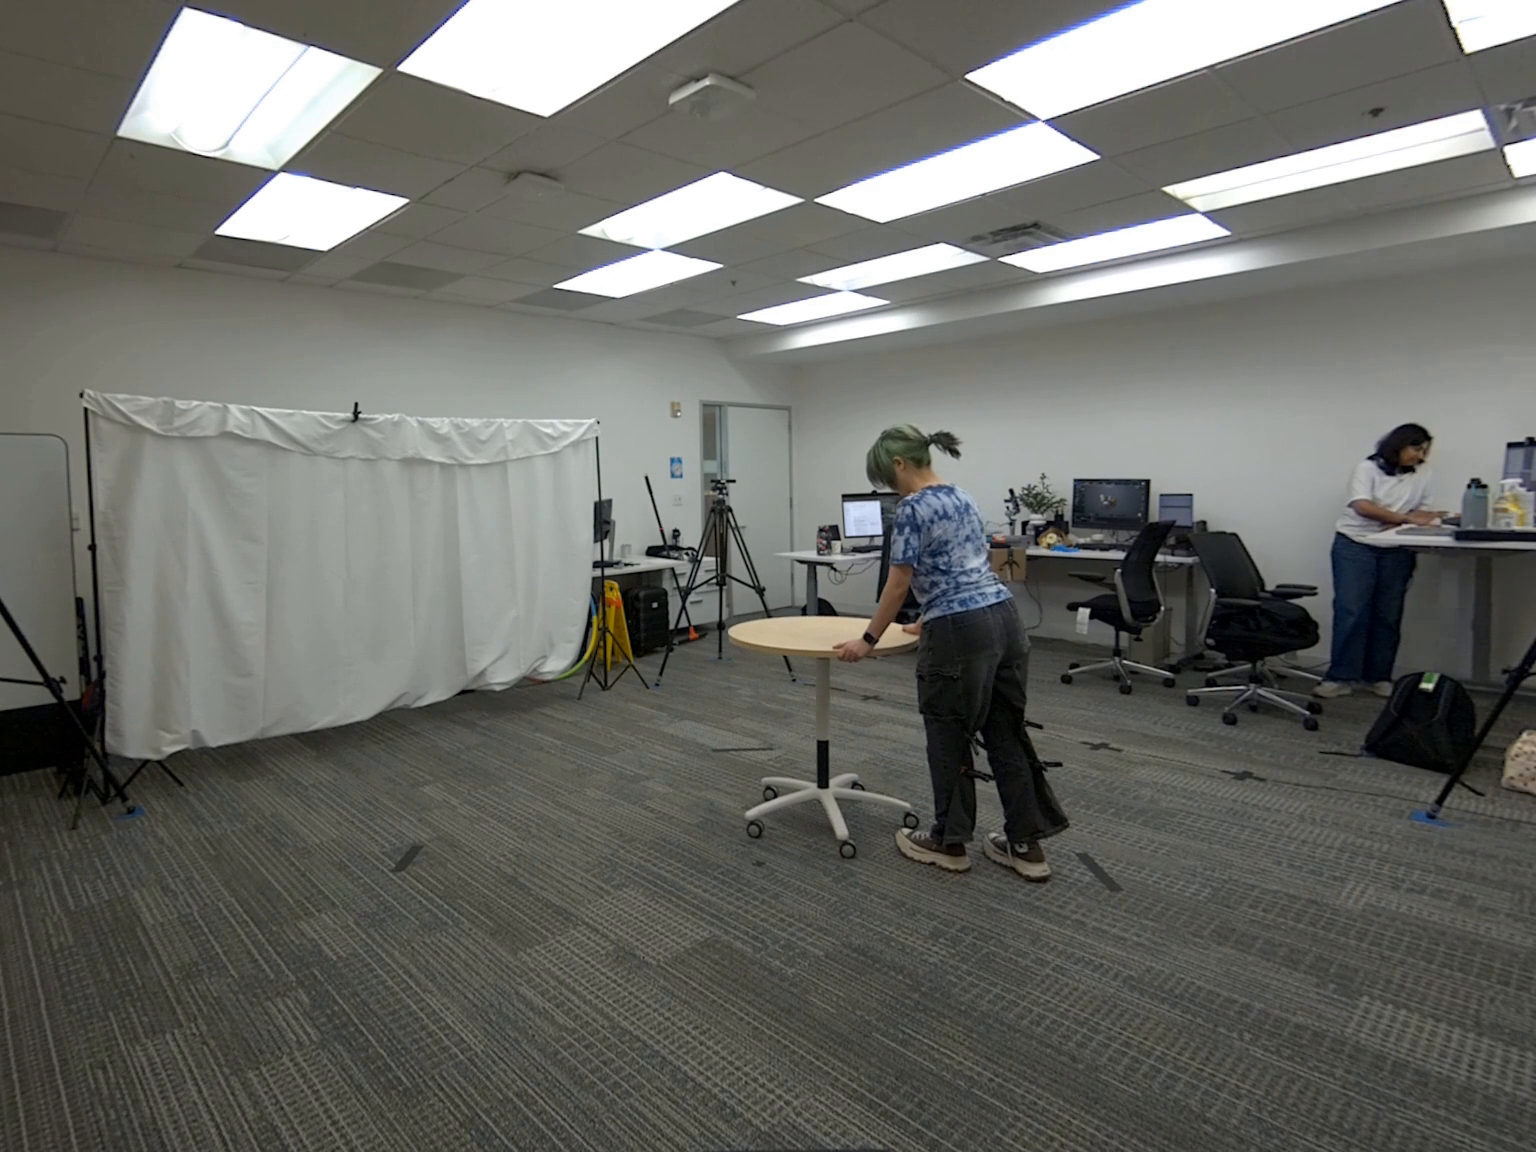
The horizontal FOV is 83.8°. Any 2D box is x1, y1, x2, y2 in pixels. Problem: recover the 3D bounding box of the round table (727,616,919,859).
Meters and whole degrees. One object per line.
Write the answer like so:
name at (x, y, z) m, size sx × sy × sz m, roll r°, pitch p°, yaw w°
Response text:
round table at (0.227, 0.615, 3.472) m, size 0.763 × 0.791 × 0.768 m, roll -1°, pitch 5°, yaw -2°
